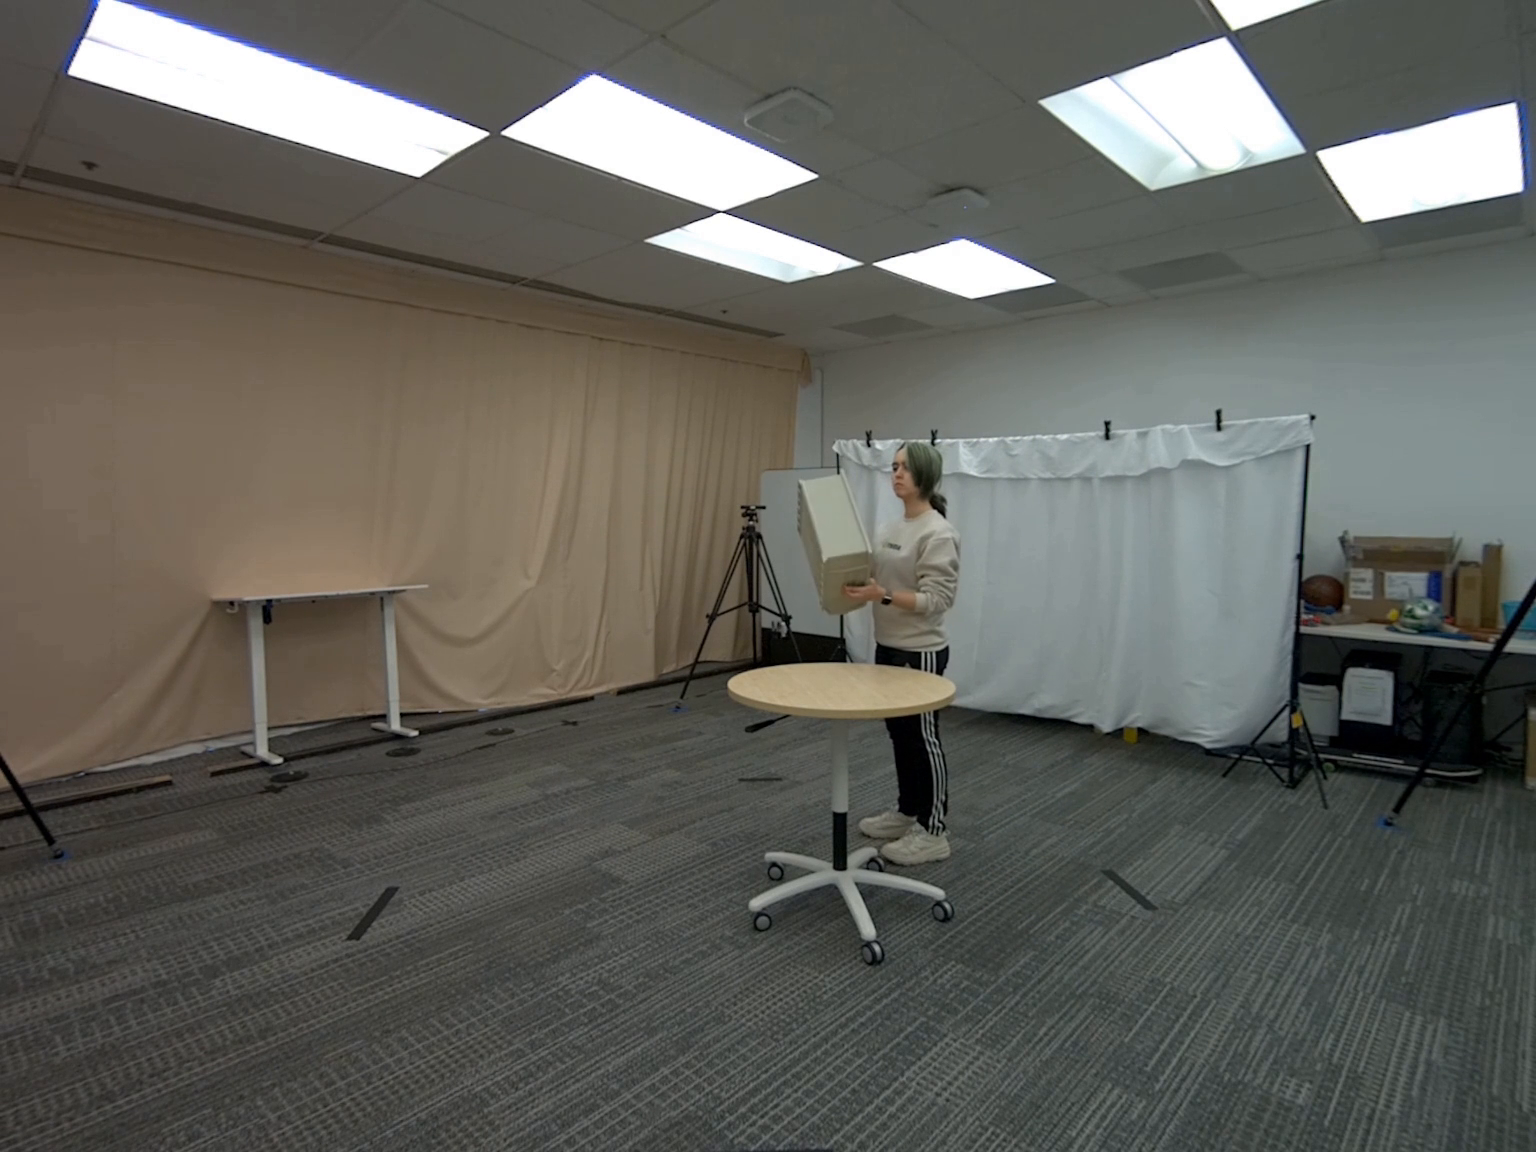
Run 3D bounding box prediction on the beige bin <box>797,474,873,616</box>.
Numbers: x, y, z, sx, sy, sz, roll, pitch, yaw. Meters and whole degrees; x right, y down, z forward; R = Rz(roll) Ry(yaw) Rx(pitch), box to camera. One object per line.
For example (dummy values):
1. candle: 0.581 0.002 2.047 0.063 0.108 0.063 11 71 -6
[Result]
1. beige bin: 0.263 -0.122 3.275 0.188 0.432 0.370 -7 -38 -4
